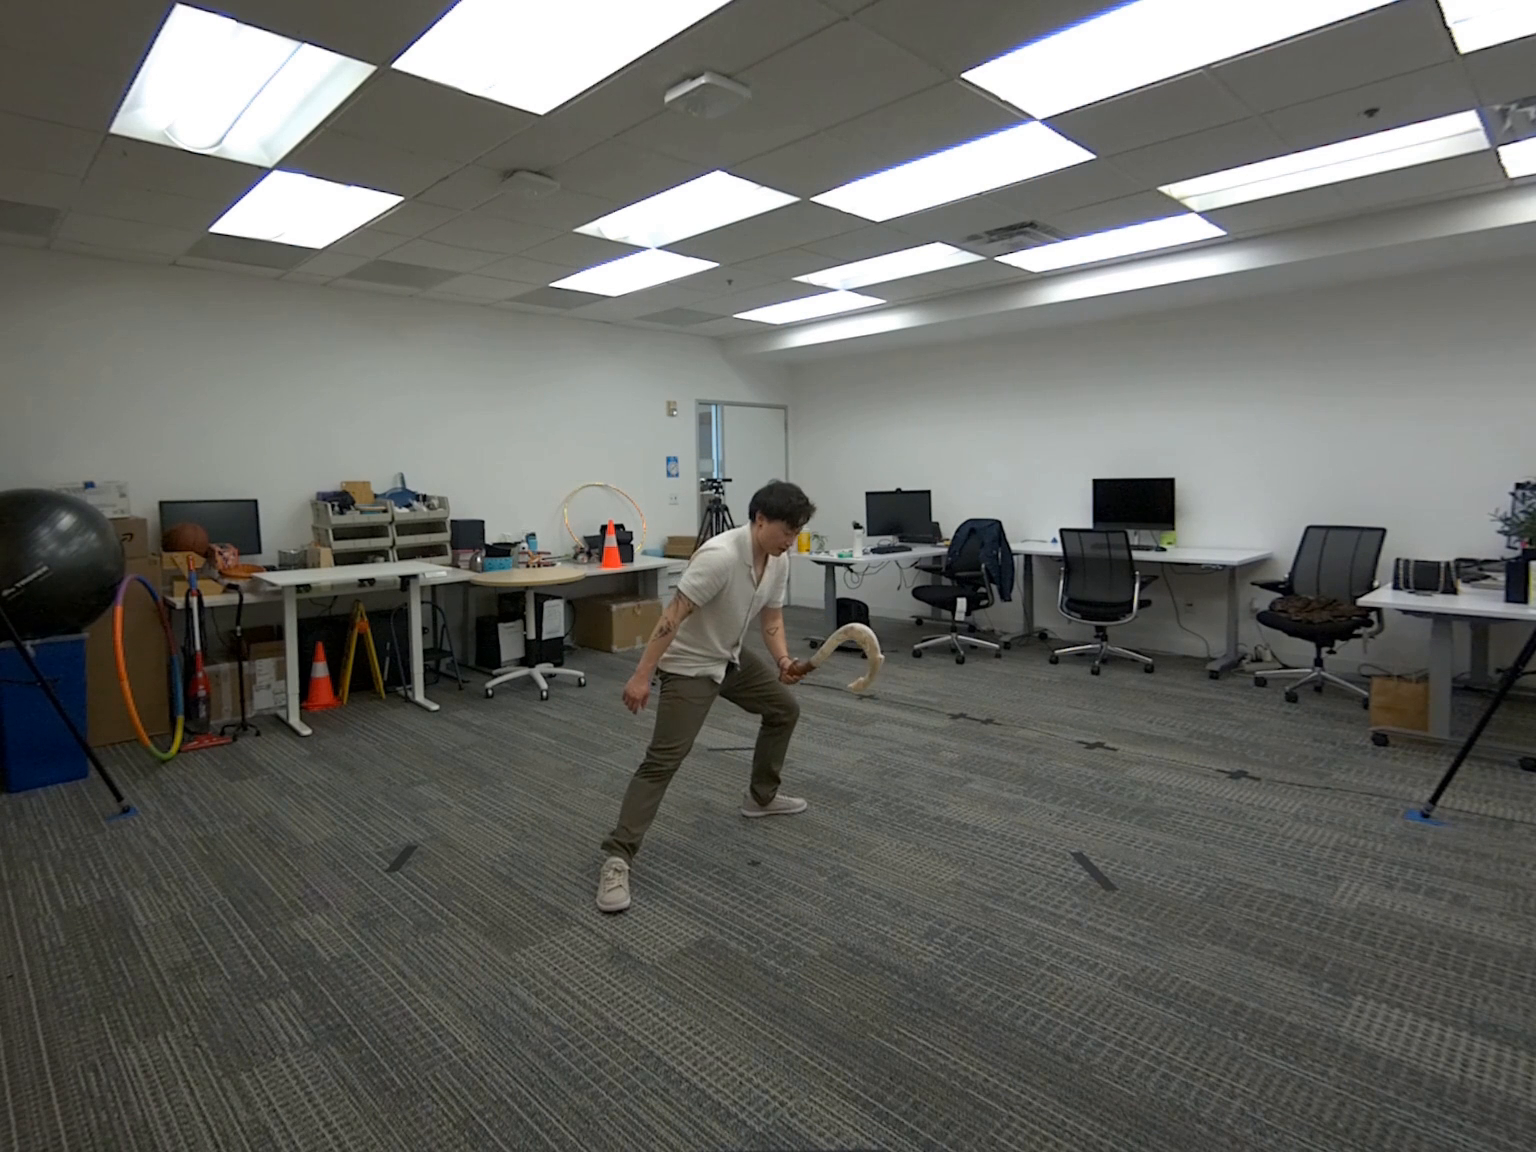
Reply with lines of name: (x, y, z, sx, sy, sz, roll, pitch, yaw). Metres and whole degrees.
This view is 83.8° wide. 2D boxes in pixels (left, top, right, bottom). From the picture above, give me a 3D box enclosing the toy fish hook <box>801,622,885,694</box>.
toy fish hook: (0.216, 0.339, 3.057, 0.047, 0.229, 0.510, 1, -25, -39)
